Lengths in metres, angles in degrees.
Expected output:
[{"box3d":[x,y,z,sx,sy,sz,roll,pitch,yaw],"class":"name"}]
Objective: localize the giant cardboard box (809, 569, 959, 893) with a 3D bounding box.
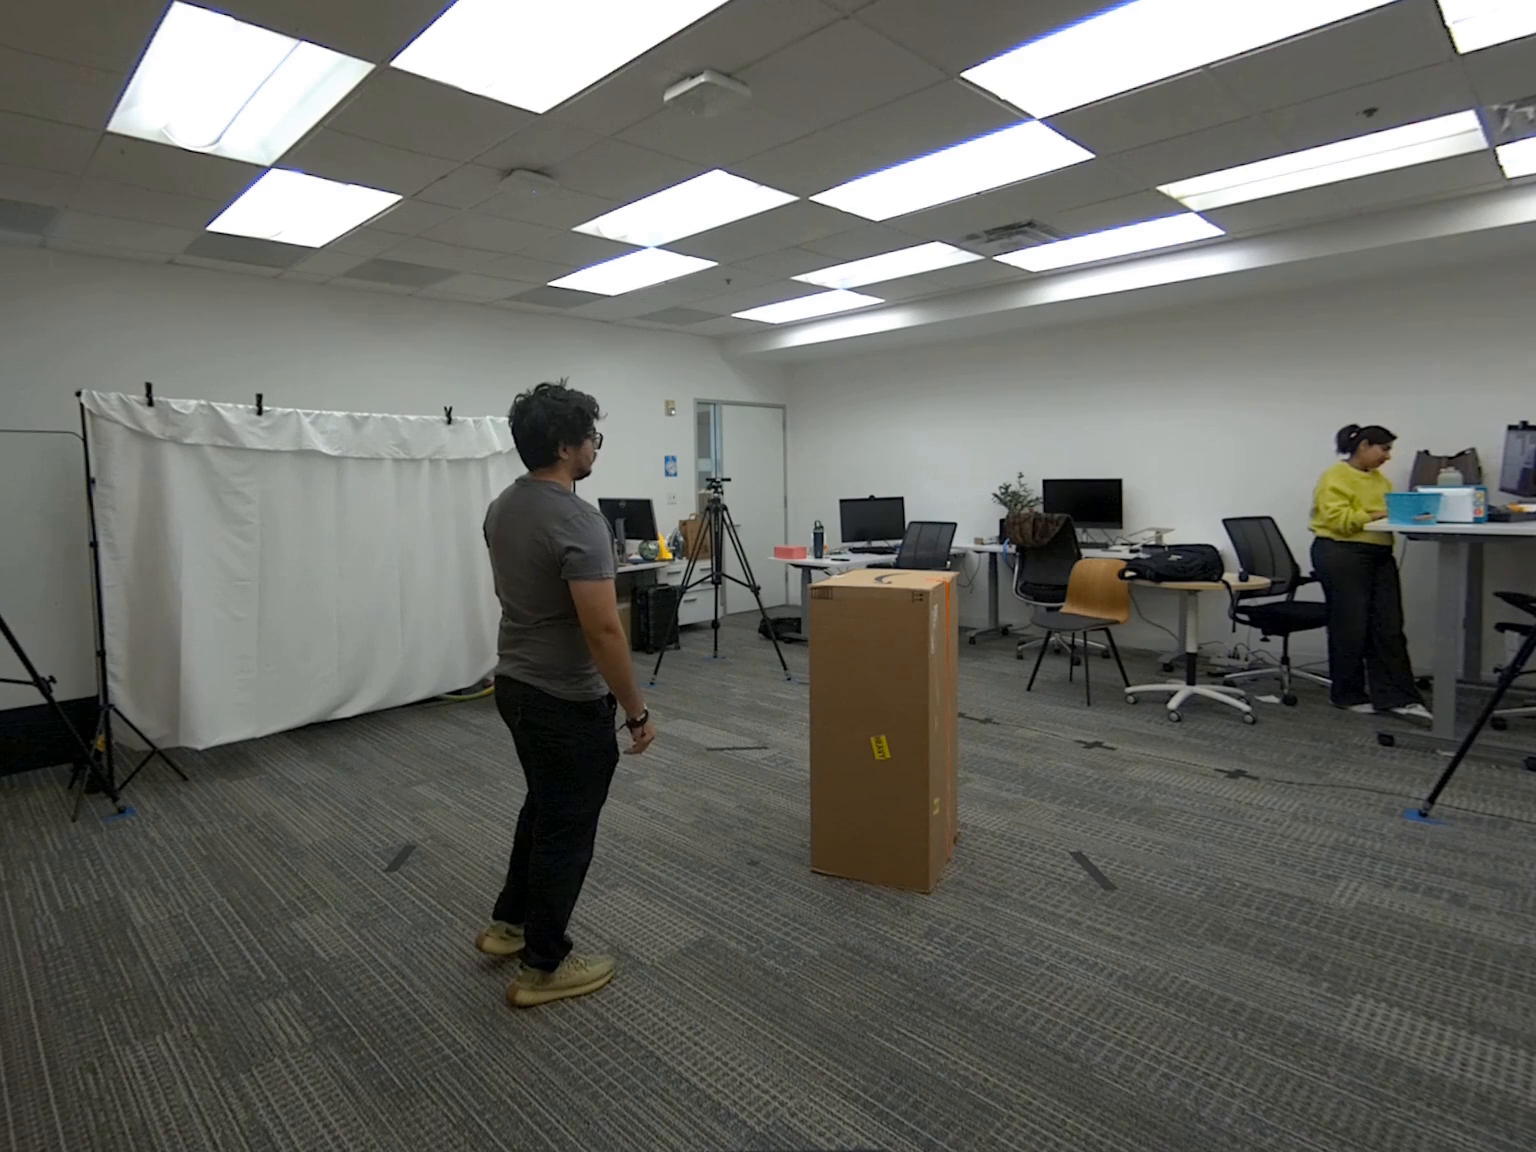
[{"box3d":[0.448,0.517,3.164,0.436,1.022,0.566,1,4,24],"class":"giant cardboard box"}]
